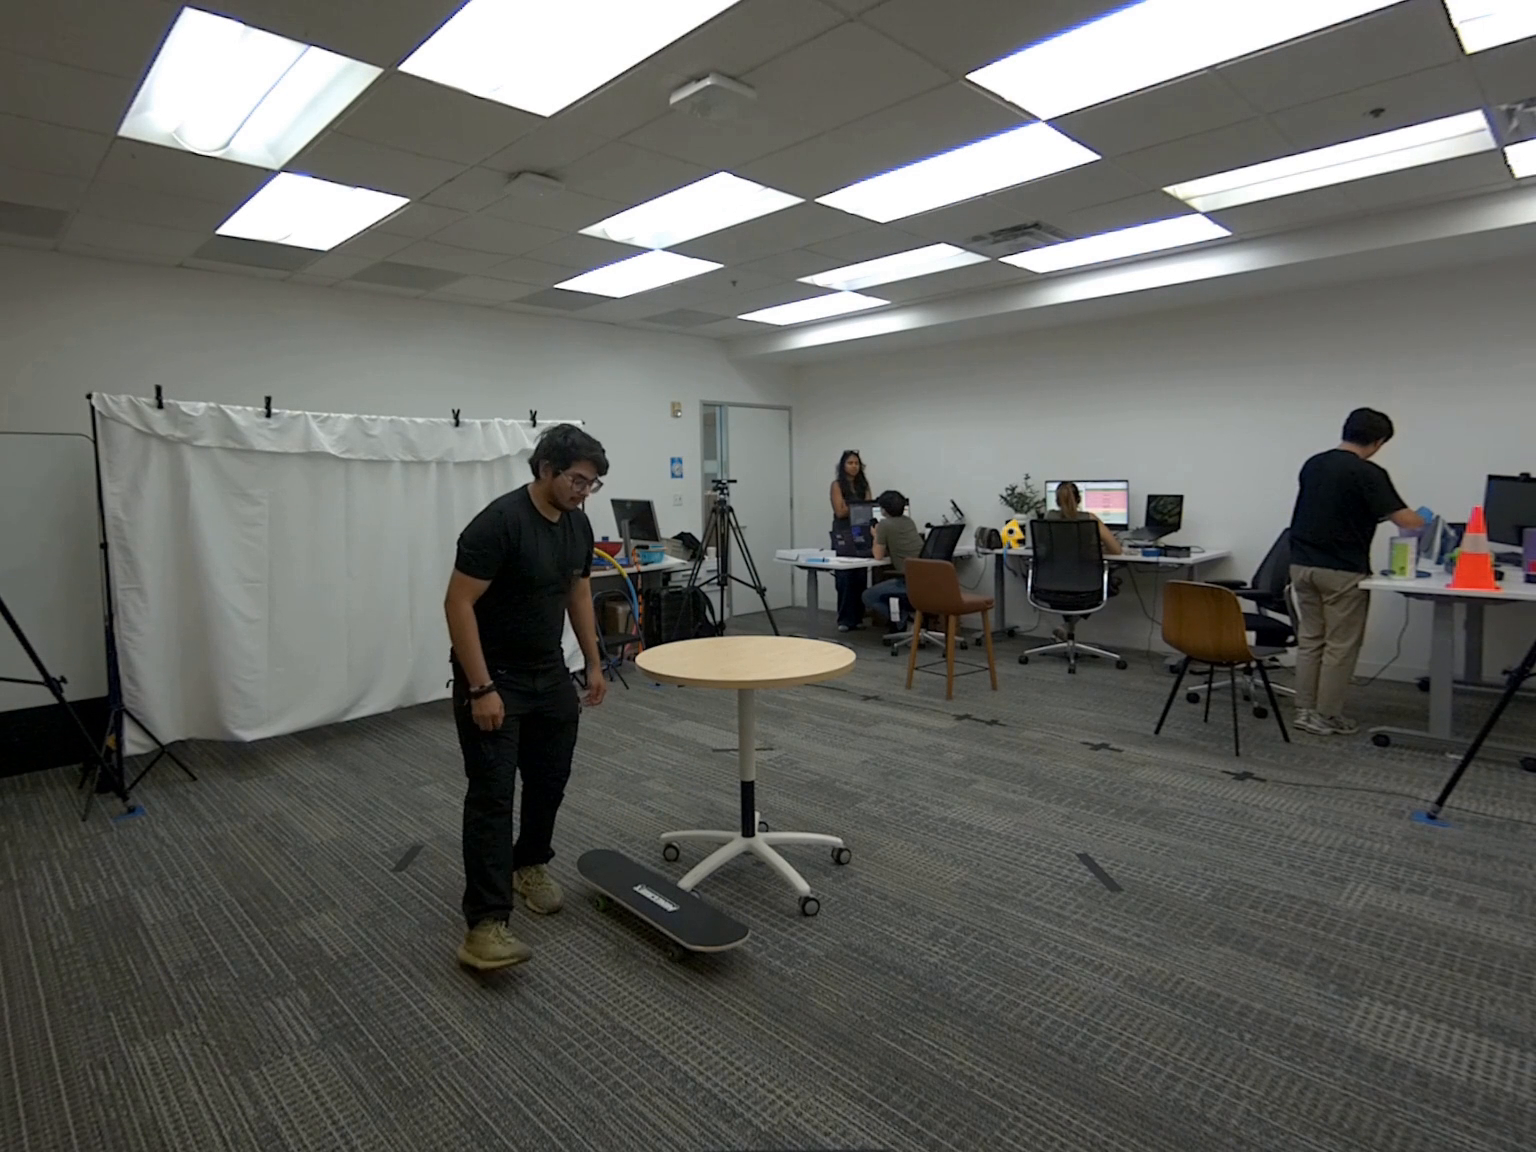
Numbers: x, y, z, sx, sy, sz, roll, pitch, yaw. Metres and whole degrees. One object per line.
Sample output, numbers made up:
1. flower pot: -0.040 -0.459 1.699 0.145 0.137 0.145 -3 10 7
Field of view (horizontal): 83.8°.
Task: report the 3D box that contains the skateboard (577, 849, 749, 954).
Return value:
1. skateboard: -0.346 1.053 2.688 0.188 0.110 0.810 -7 9 -42
